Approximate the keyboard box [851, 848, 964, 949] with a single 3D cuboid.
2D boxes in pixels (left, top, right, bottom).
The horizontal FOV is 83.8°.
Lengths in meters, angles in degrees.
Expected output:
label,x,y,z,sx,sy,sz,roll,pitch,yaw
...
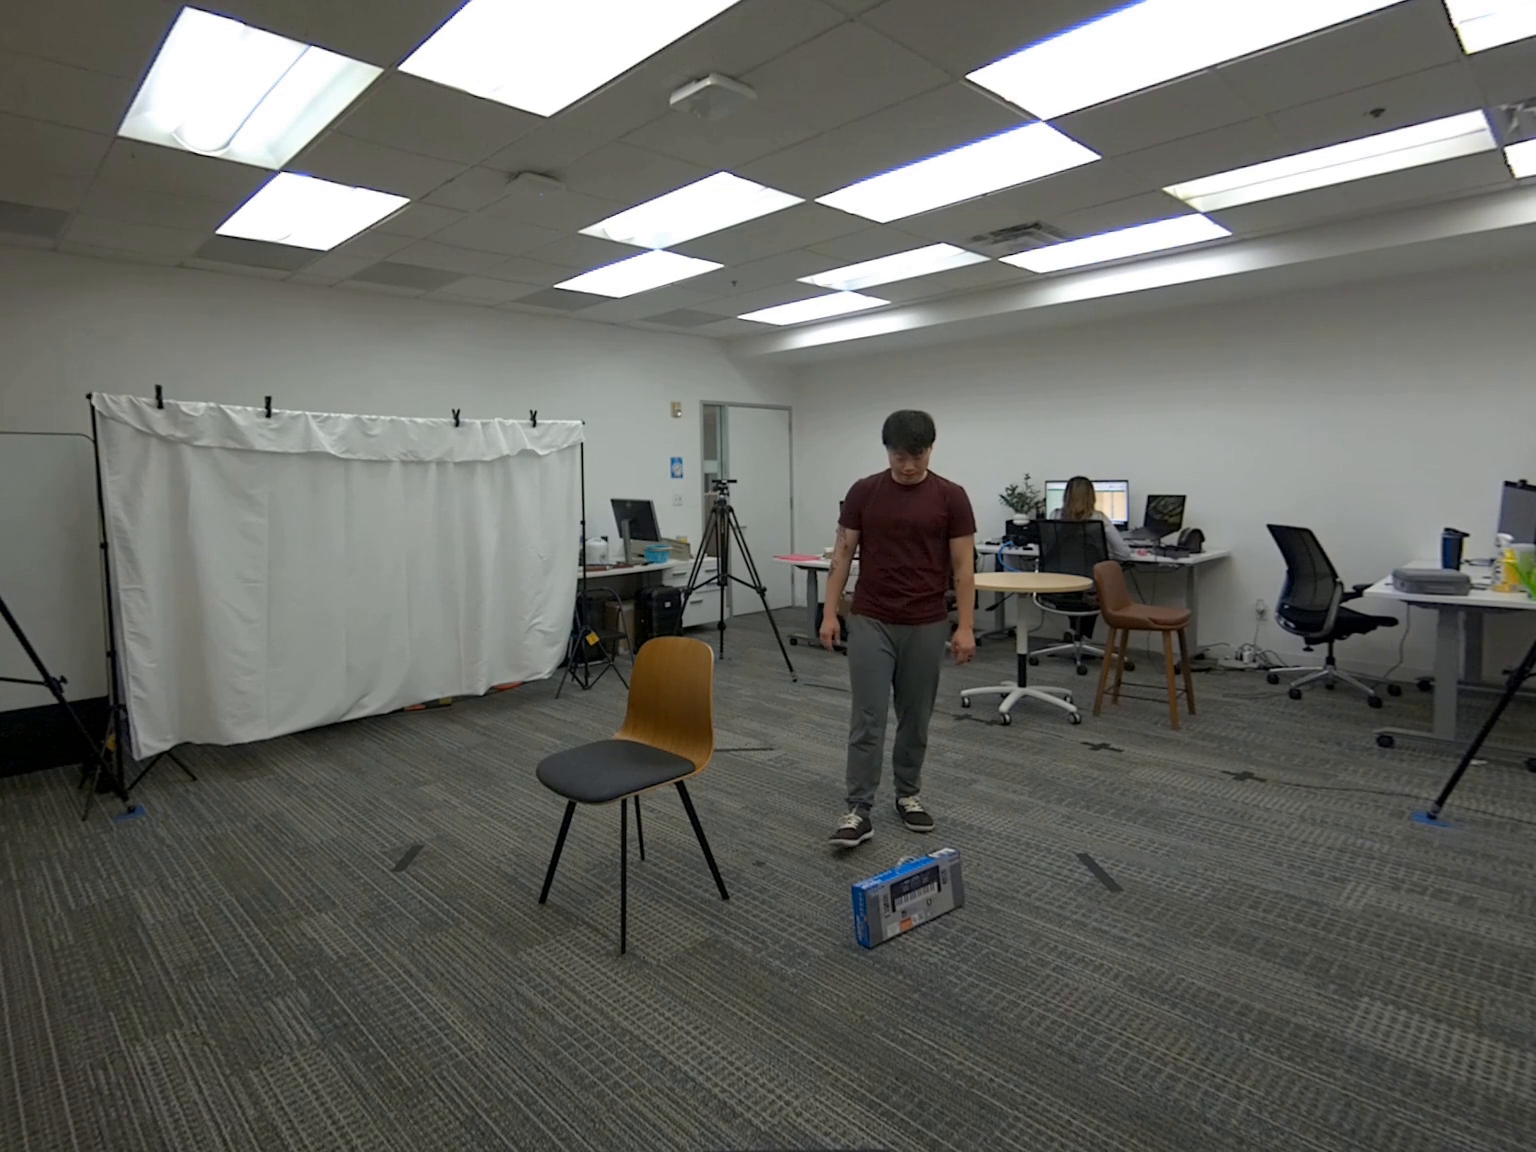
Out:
label,x,y,z,sx,sy,sz,roll,pitch,yaw
keyboard box,0.447,0.995,2.675,0.426,0.176,0.060,-5,-1,-36
